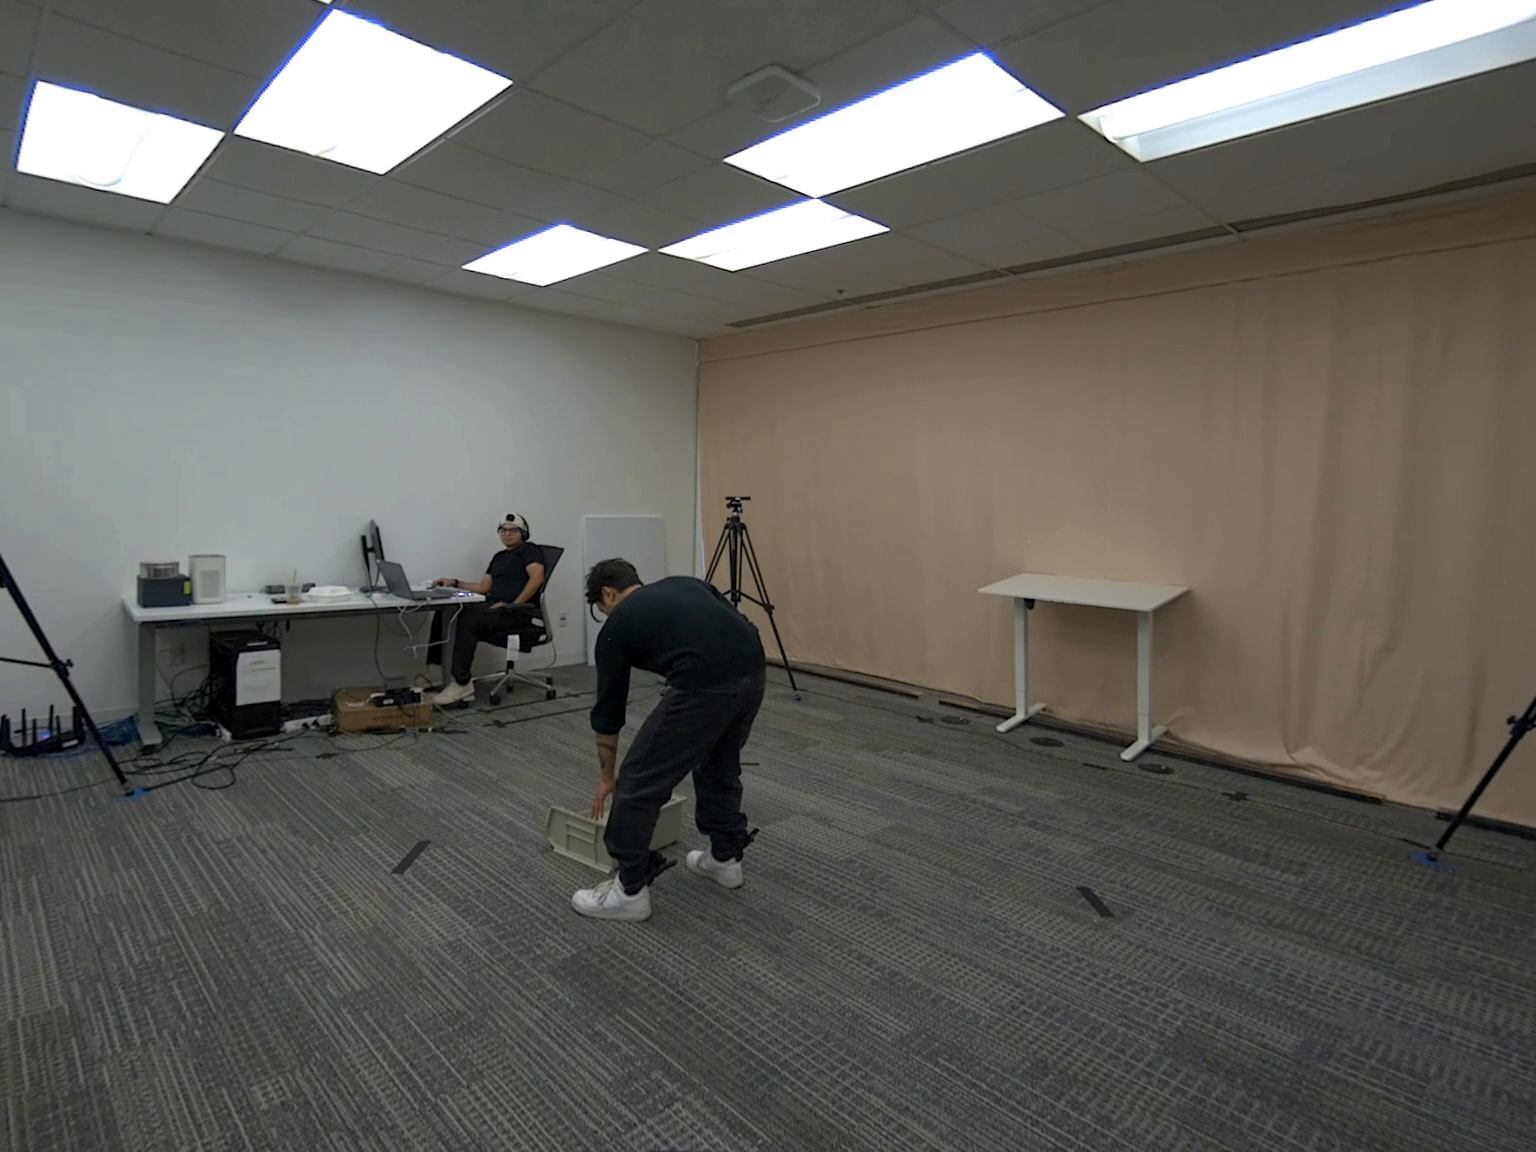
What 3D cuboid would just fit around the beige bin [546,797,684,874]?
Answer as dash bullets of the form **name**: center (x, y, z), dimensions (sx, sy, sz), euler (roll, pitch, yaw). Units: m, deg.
- **beige bin**: center (-0.613, 0.987, 3.363), dimensions (0.387, 0.188, 0.413), euler (6, 7, 36)
